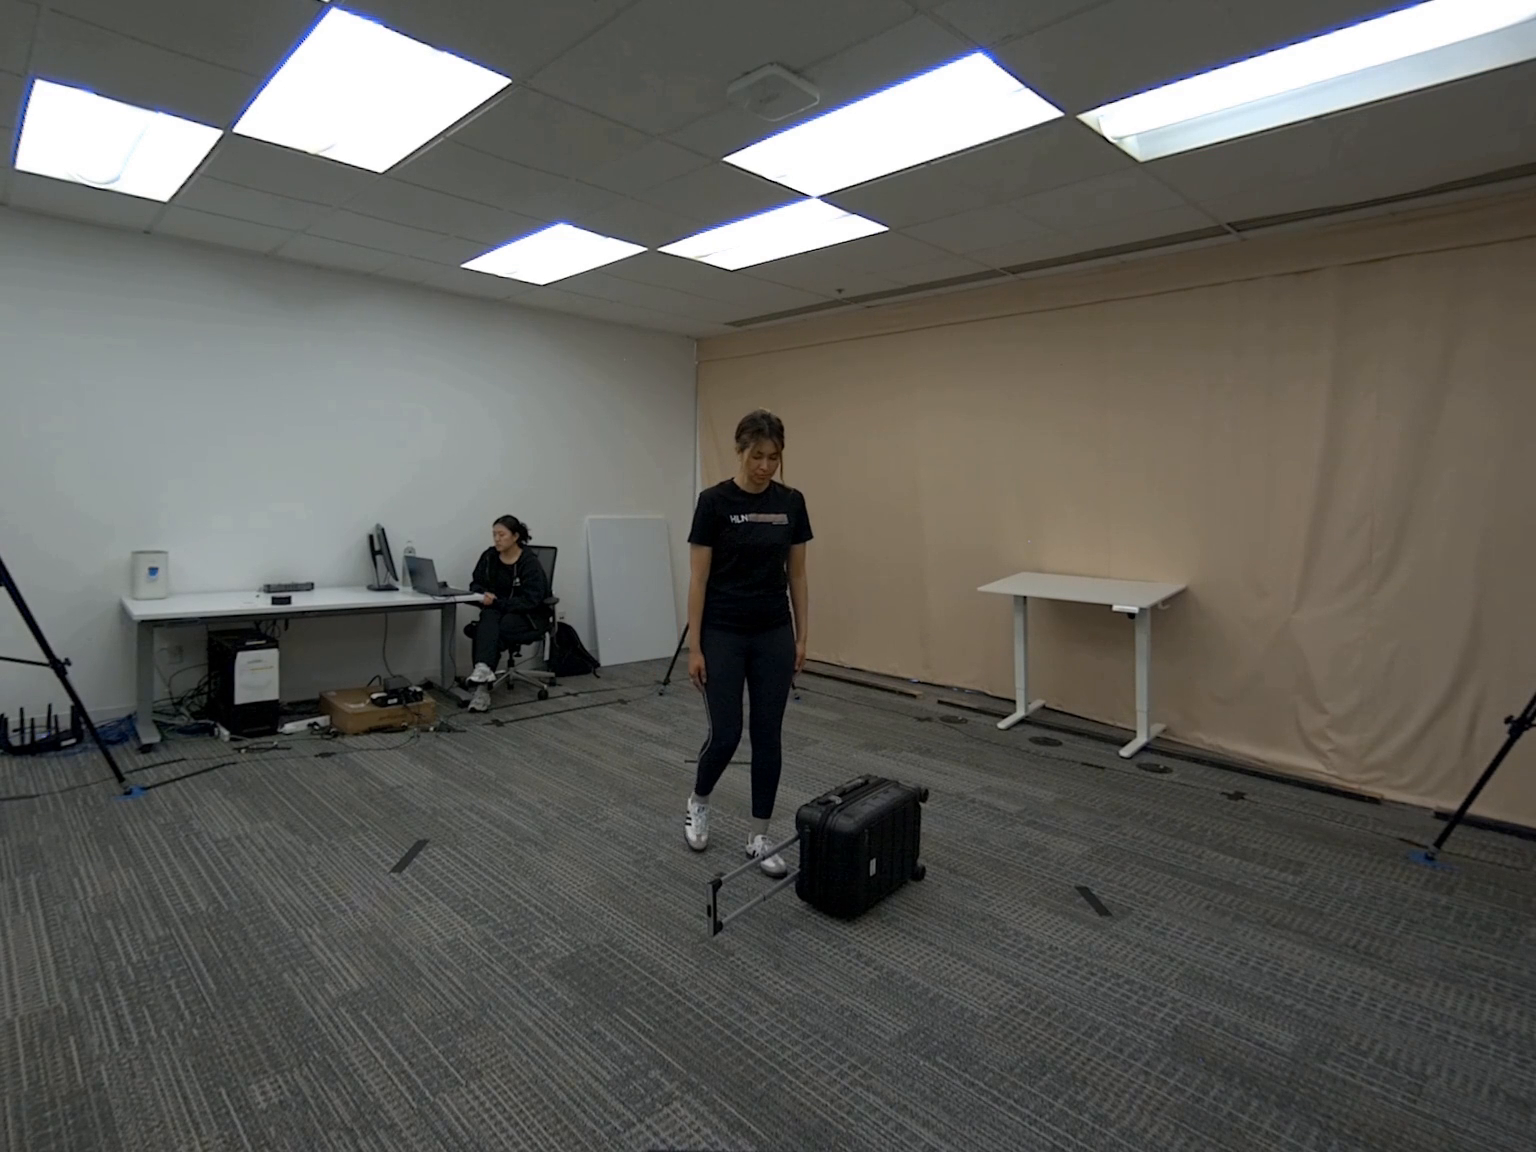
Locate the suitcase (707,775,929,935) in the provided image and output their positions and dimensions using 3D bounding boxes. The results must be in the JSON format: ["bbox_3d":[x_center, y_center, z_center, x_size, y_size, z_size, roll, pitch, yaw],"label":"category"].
[{"bbox_3d":[0.203,0.949,2.810,0.263,0.383,0.958,4,5,36],"label":"suitcase"}]
